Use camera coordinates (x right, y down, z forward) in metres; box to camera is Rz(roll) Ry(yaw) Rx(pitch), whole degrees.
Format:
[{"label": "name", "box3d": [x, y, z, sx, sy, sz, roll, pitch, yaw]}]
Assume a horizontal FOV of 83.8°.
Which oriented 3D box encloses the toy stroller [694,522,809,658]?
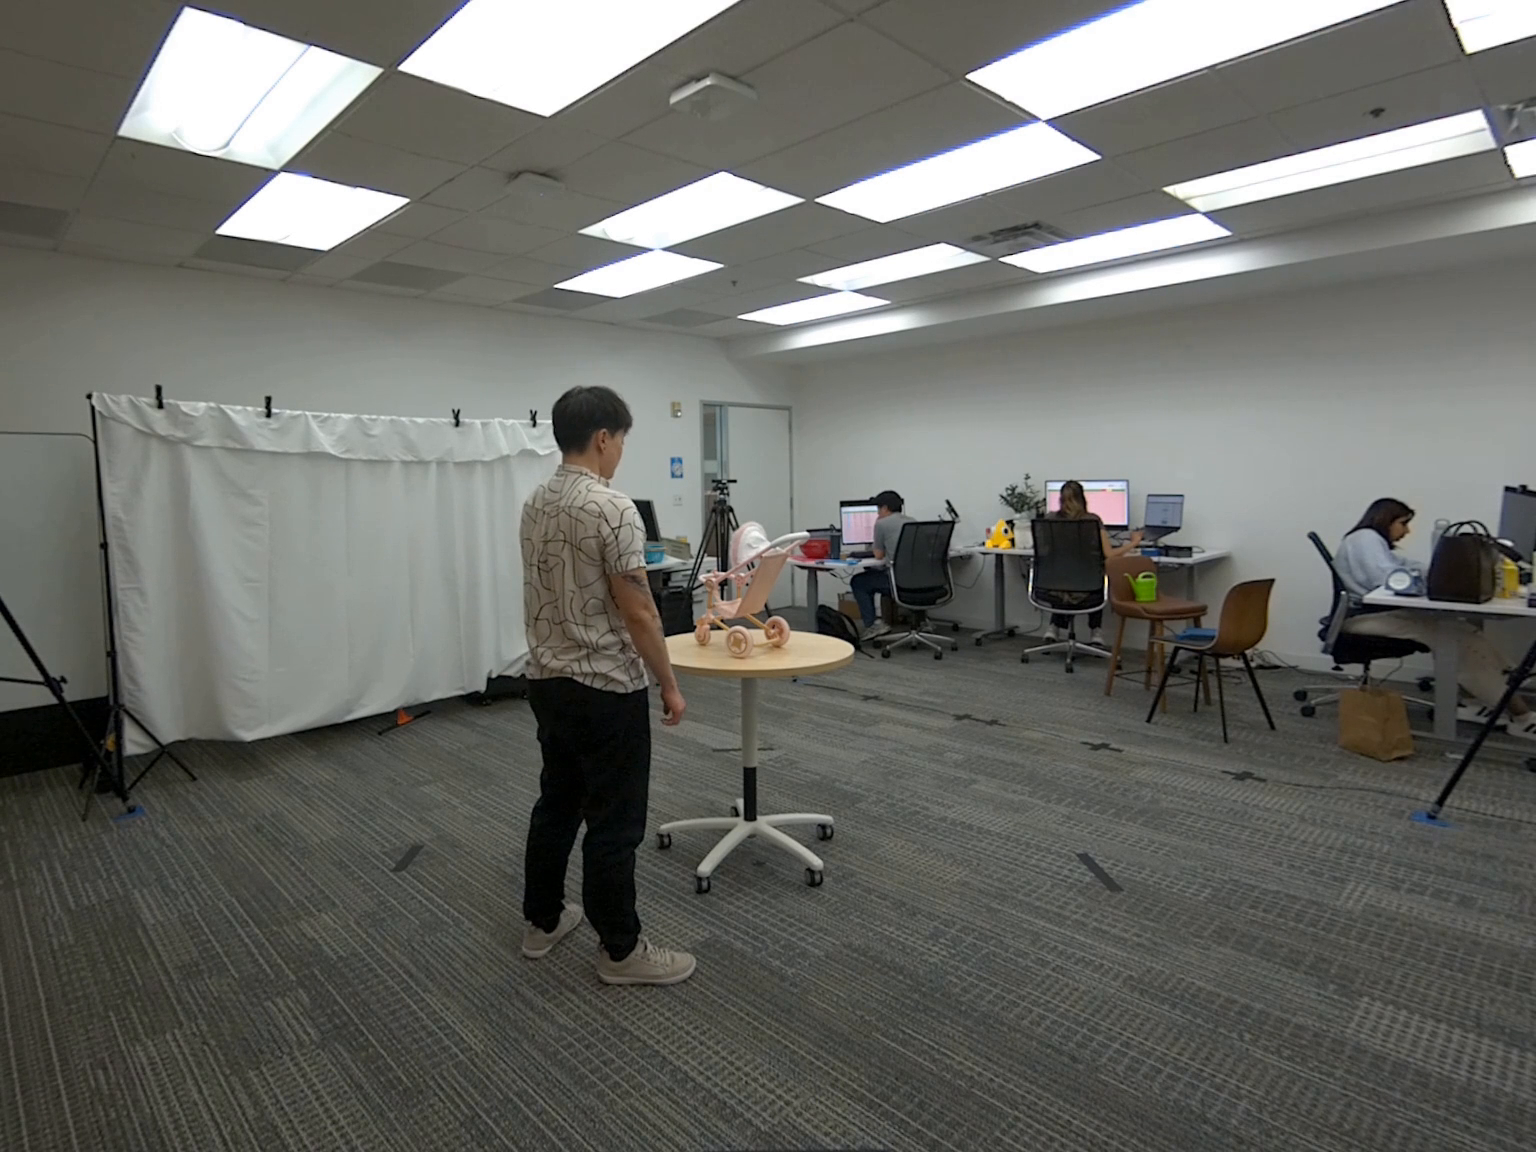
[{"label": "toy stroller", "box3d": [-0.080, 0.044, 3.064, 0.353, 0.530, 0.274, 23, 17, 34]}]
